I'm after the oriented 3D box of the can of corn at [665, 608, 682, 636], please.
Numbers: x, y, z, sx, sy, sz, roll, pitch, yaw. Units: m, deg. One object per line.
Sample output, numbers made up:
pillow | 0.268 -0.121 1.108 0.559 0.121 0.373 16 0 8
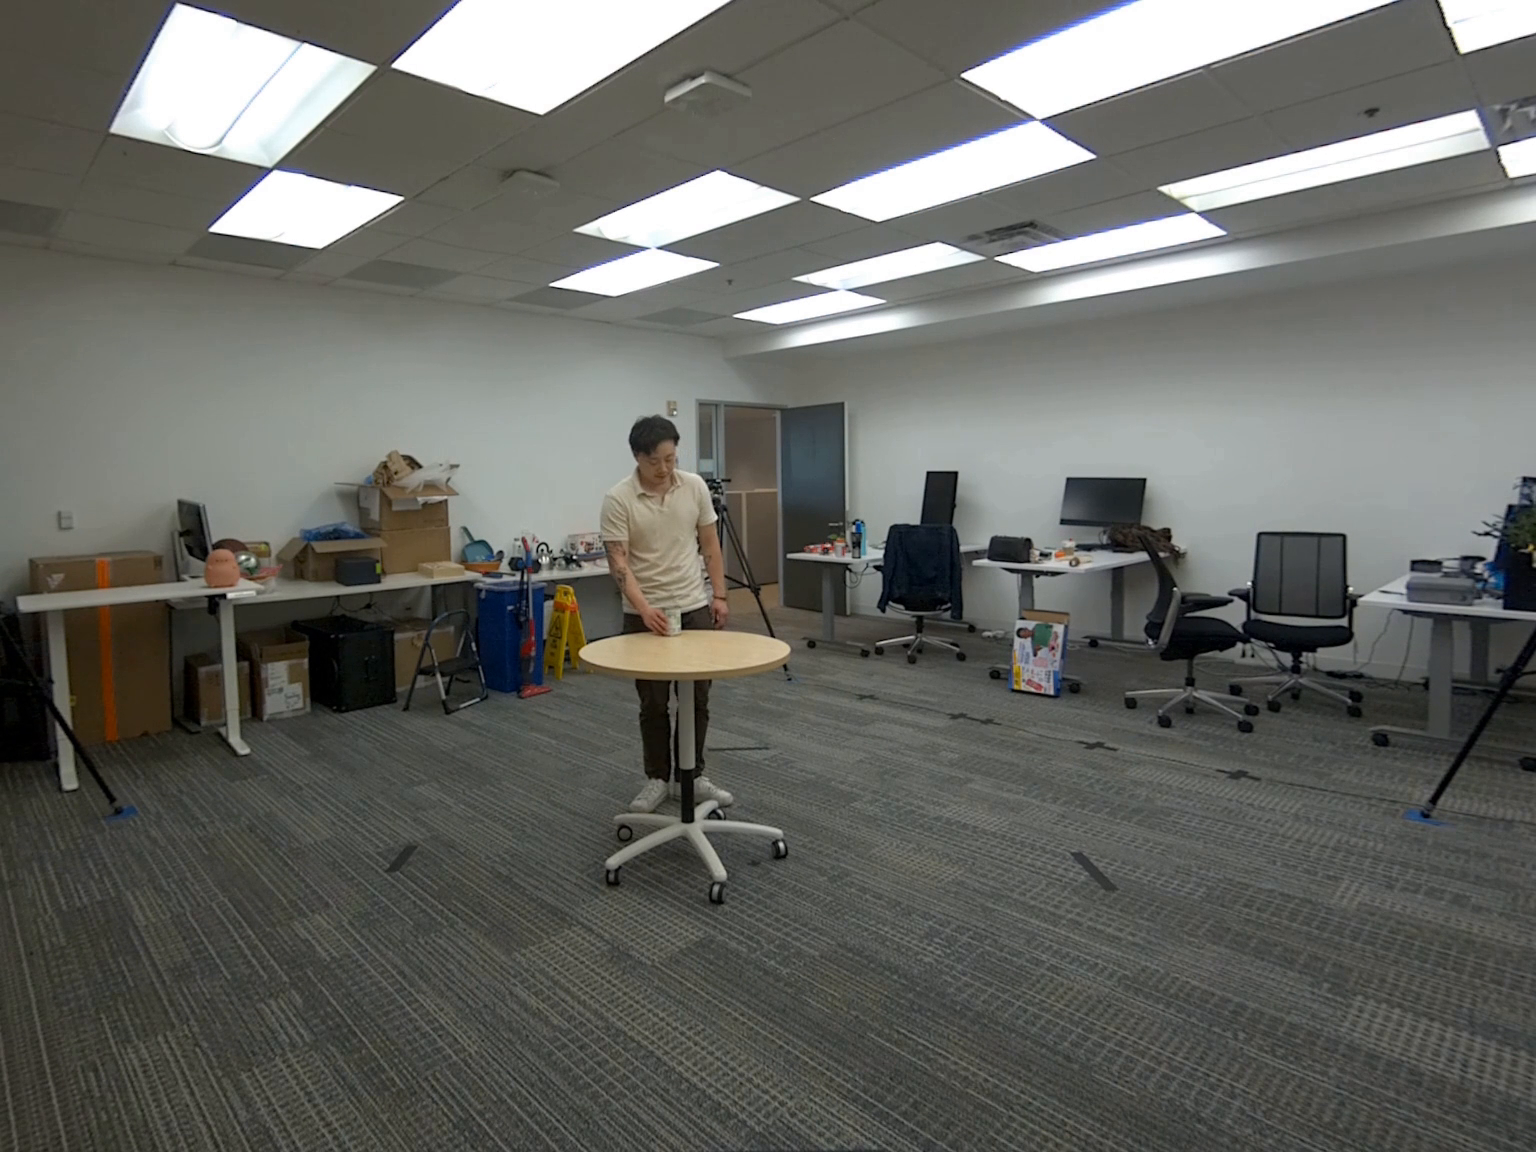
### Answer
can of corn | -0.389 0.182 3.382 0.074 0.111 0.074 -6 3 -1
